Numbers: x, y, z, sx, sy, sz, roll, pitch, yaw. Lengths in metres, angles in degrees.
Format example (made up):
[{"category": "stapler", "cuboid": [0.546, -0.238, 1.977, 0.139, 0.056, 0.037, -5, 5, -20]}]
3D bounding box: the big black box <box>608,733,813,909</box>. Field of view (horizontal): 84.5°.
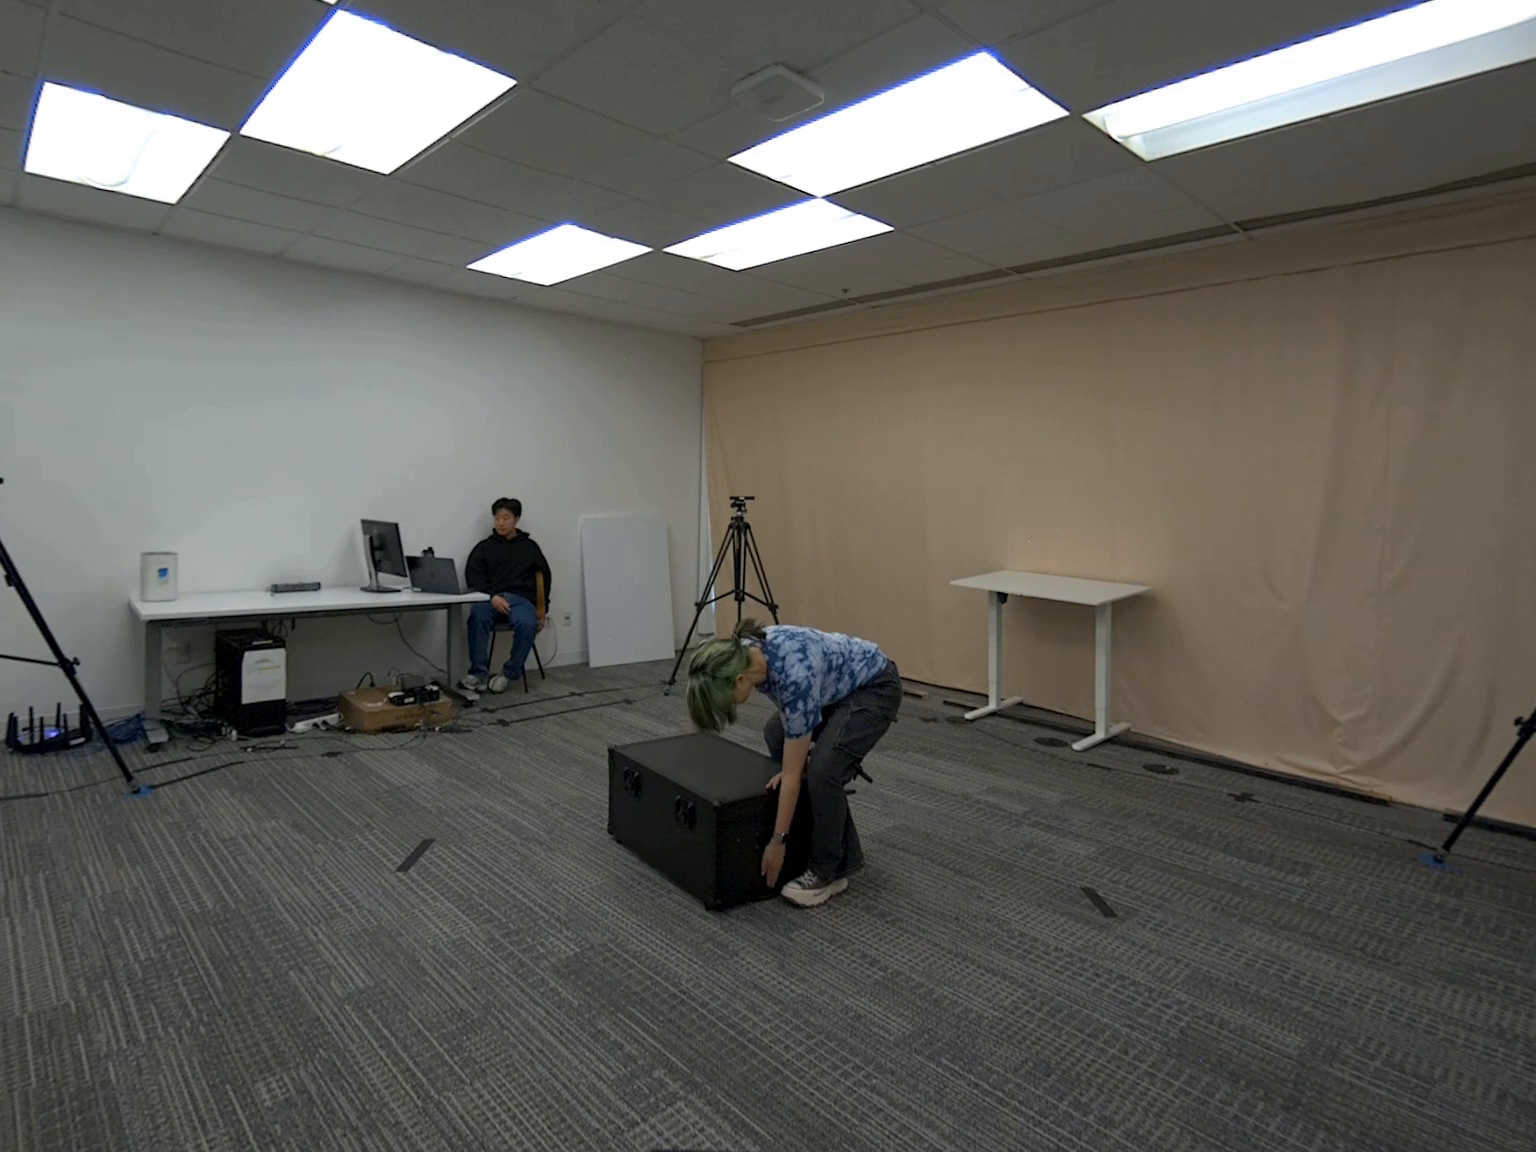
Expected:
[{"category": "big black box", "cuboid": [-0.246, 0.900, 3.253, 0.510, 0.395, 0.883, -2, 6, -36]}]
